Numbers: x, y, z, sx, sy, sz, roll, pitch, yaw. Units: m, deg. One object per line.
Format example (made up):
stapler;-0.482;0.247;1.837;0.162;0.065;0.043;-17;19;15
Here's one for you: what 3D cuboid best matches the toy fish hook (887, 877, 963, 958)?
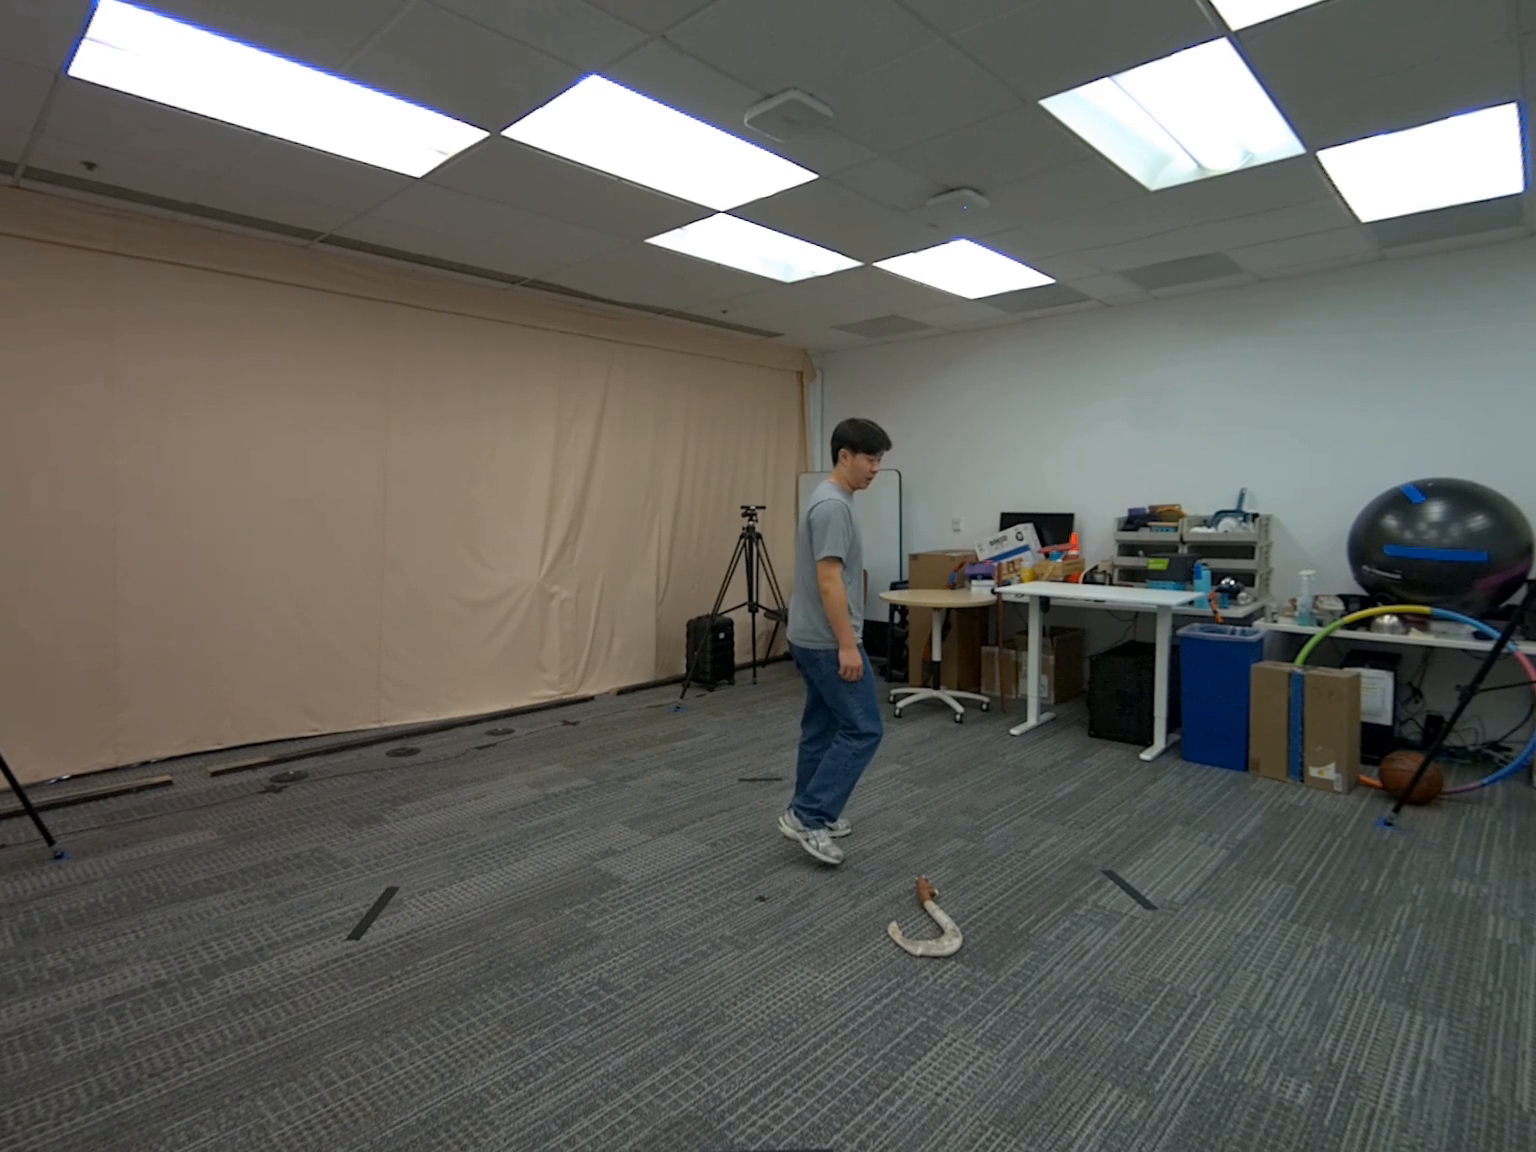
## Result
toy fish hook;0.509;1.128;2.830;0.225;0.048;0.506;1;4;1
